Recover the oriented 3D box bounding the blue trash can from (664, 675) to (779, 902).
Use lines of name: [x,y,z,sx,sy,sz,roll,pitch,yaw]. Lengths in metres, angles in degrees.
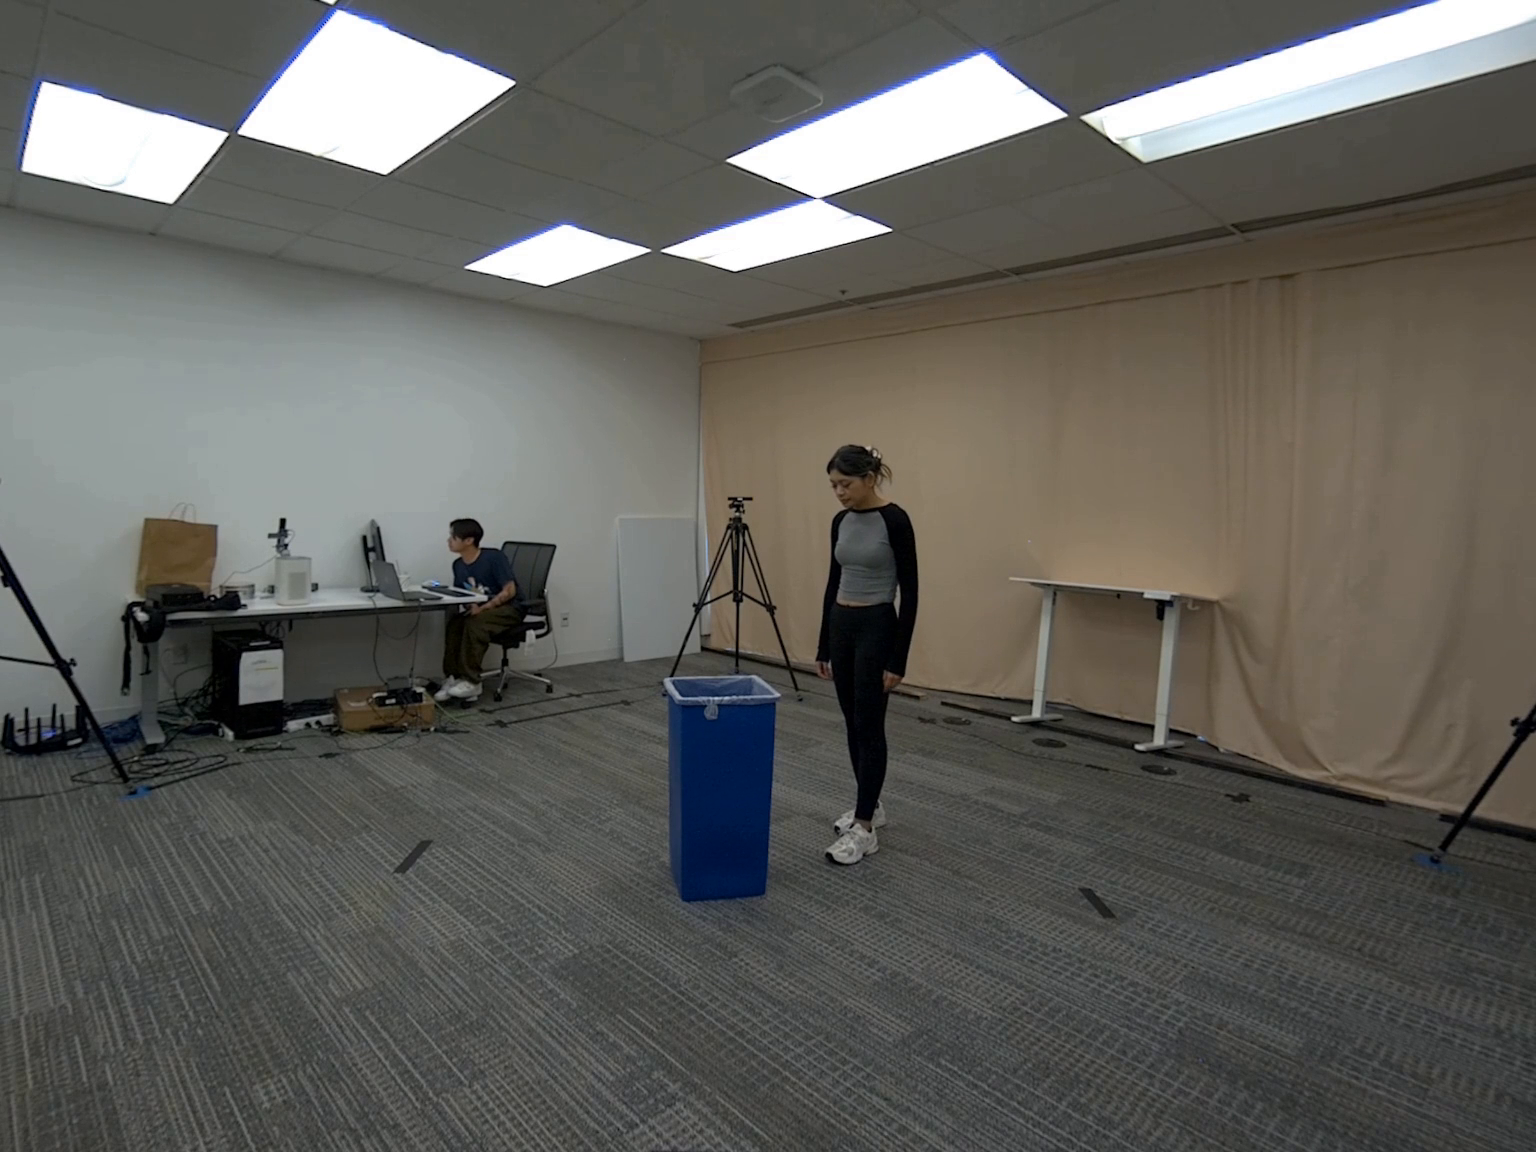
blue trash can: [-0.179,0.754,3.059,0.370,0.712,0.383,0,3,-15]
